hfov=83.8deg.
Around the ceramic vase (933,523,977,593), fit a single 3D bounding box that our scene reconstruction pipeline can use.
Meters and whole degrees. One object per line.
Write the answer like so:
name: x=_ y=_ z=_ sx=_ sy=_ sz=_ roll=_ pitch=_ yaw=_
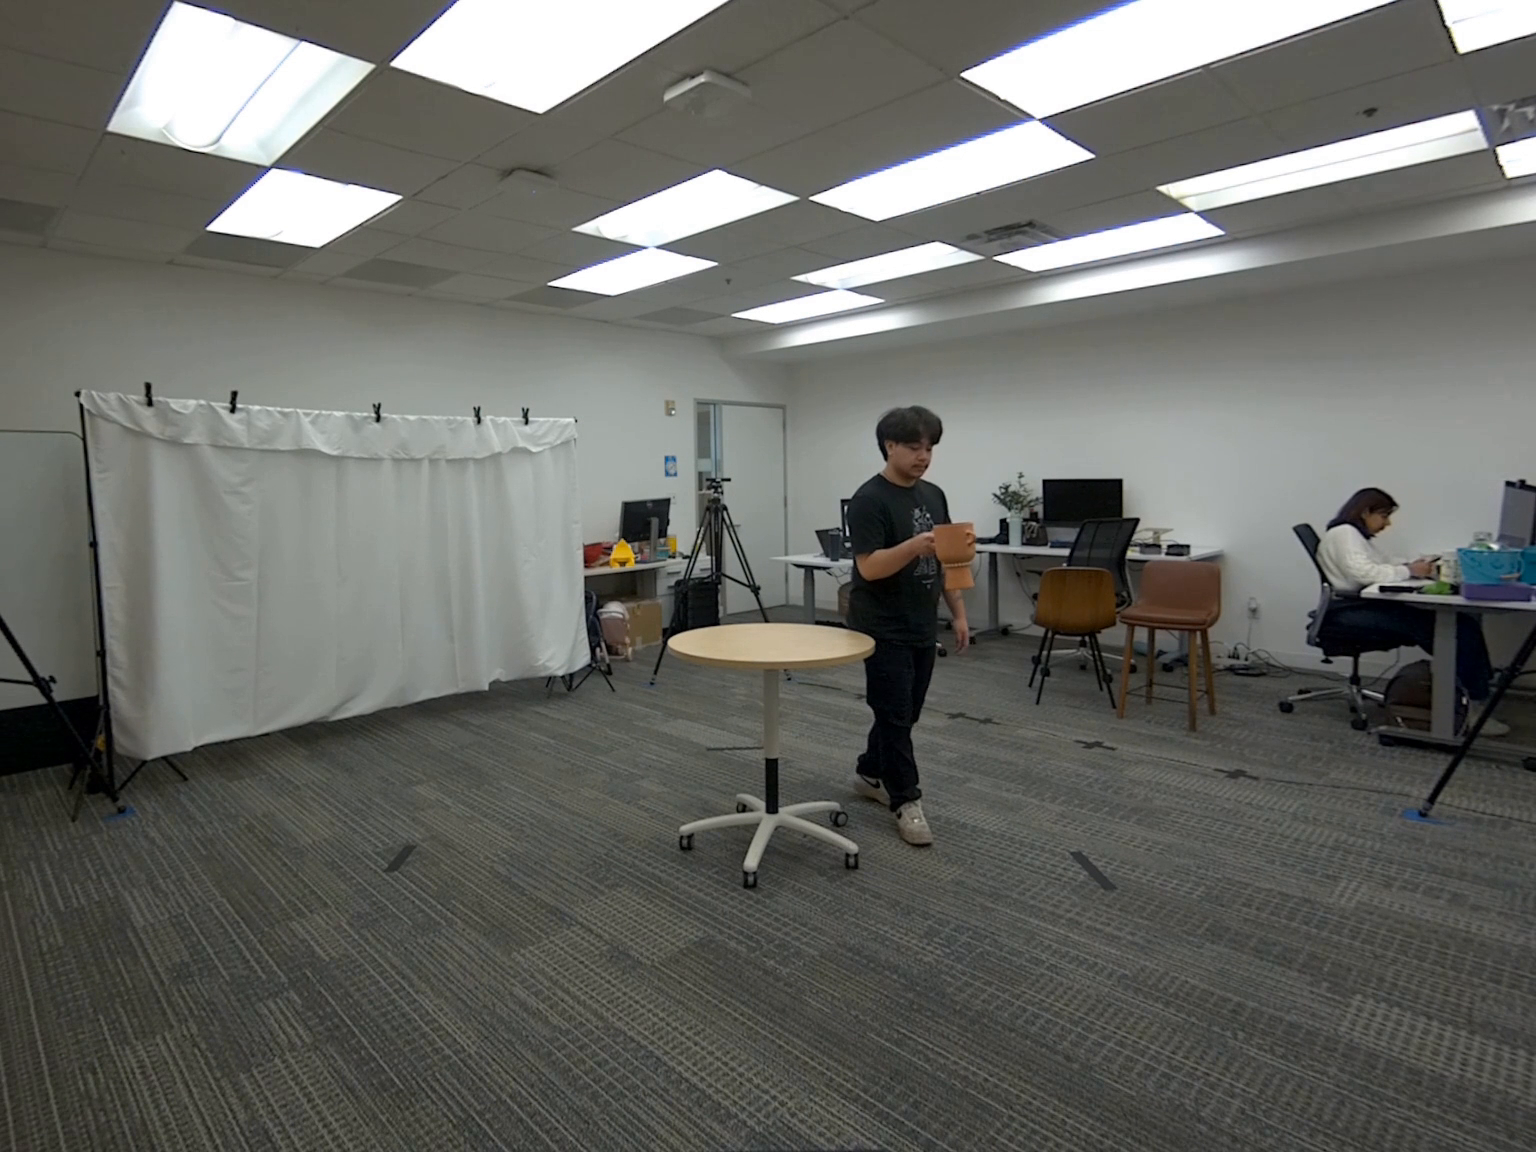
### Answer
ceramic vase: x=0.649 y=-0.067 z=2.934 sx=0.136 sy=0.219 sz=0.158 roll=-6 pitch=2 yaw=9
